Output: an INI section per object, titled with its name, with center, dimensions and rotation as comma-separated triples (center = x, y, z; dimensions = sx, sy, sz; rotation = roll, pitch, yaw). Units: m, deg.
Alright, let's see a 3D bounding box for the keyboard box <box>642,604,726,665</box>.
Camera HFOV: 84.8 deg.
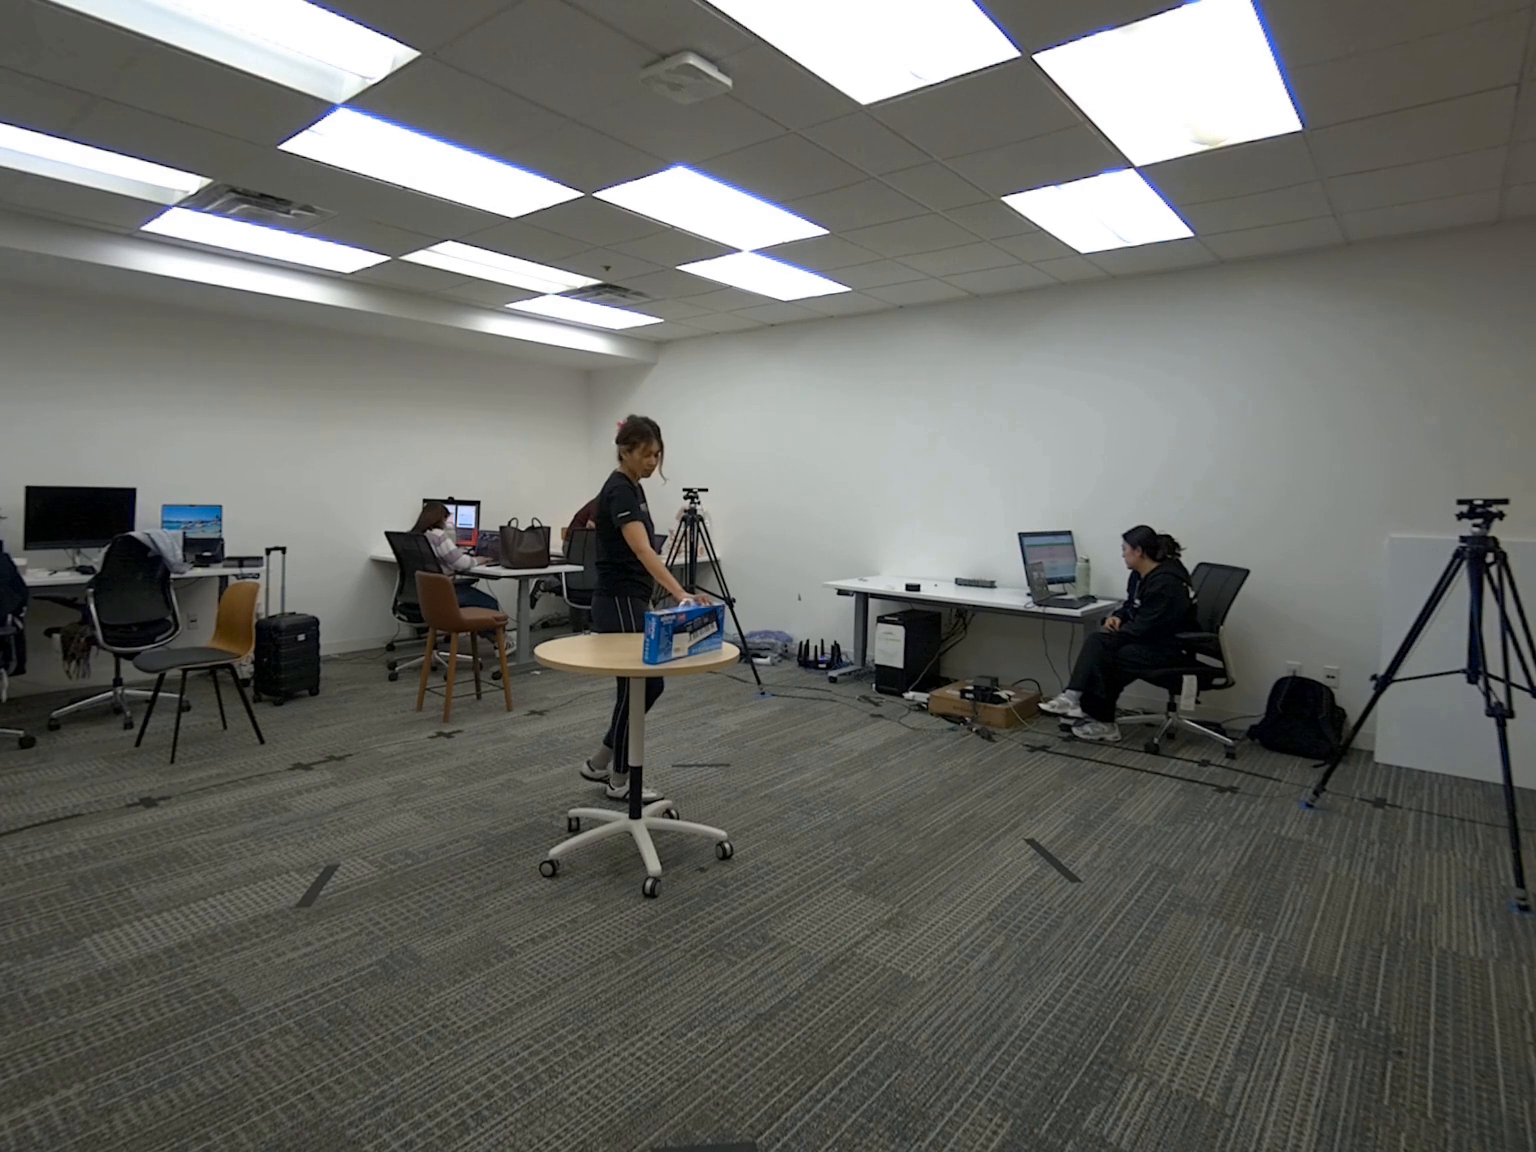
[keyboard box]
center = -0.310, 0.201, 3.078
dimensions = 0.061, 0.175, 0.425
rotation = 6, 6, 29
